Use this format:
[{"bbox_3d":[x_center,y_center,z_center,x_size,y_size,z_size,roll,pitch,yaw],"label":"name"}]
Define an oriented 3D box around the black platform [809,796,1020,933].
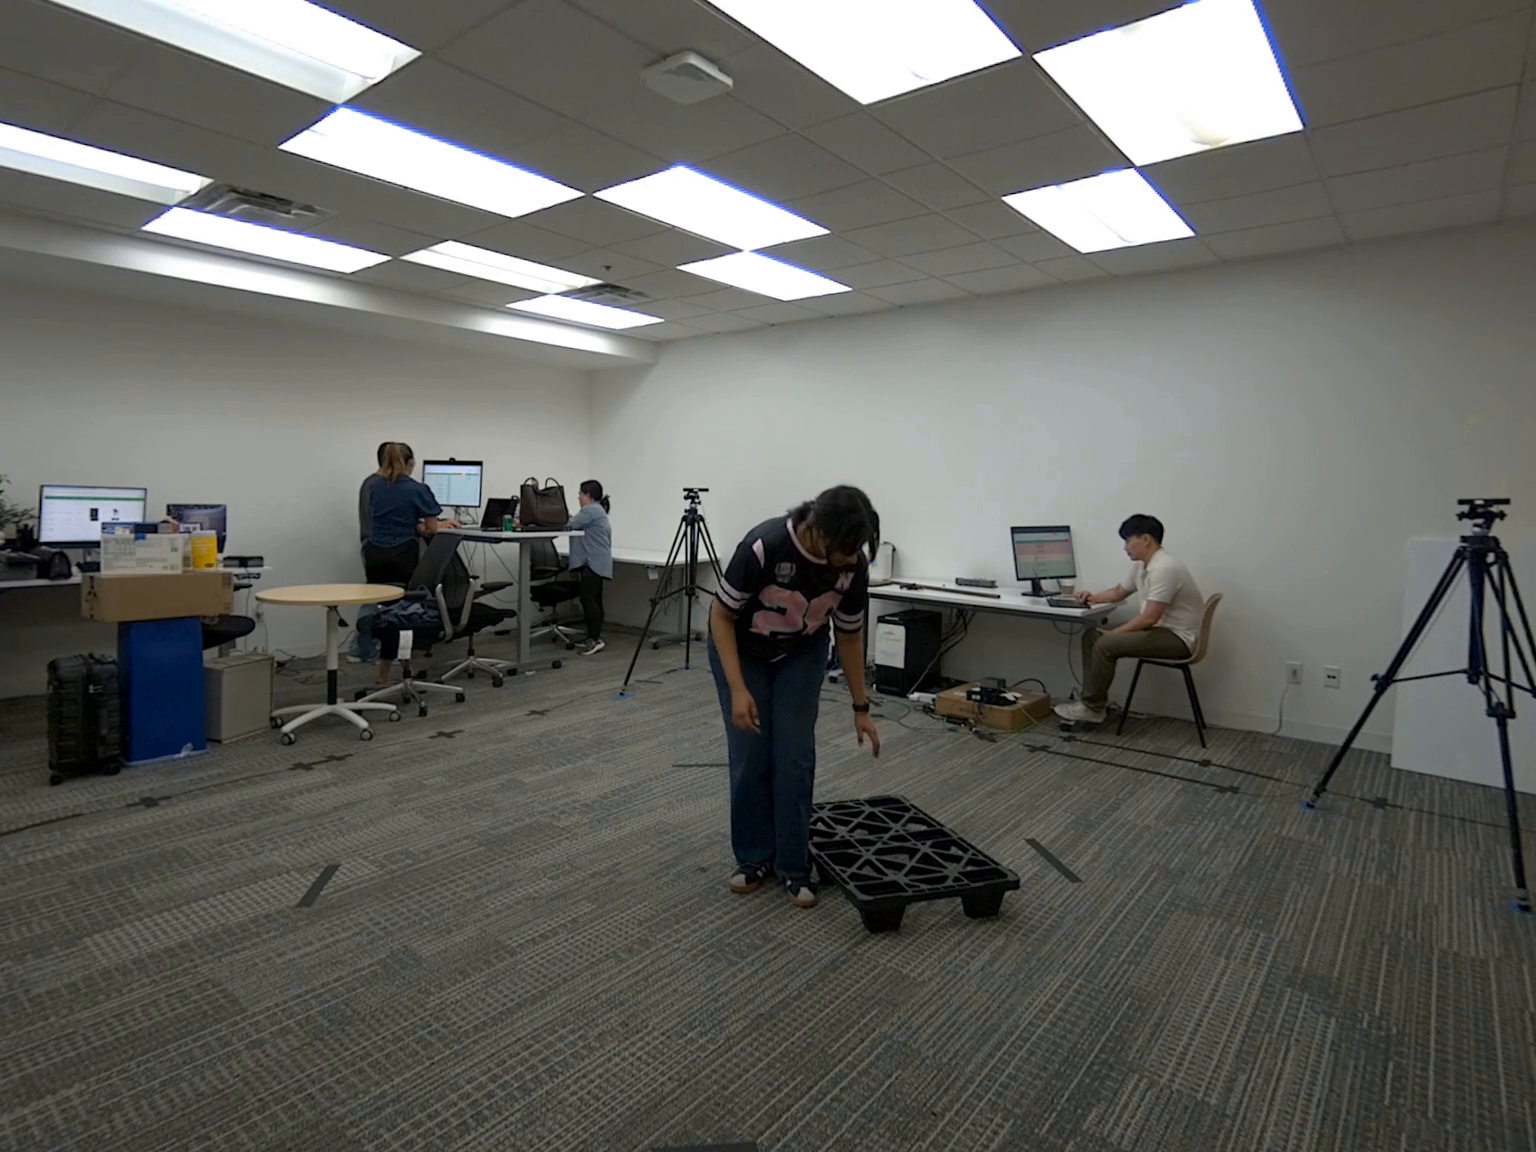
[{"bbox_3d":[0.410,1.020,3.087,0.594,0.143,0.824,-1,6,-20],"label":"black platform"}]
